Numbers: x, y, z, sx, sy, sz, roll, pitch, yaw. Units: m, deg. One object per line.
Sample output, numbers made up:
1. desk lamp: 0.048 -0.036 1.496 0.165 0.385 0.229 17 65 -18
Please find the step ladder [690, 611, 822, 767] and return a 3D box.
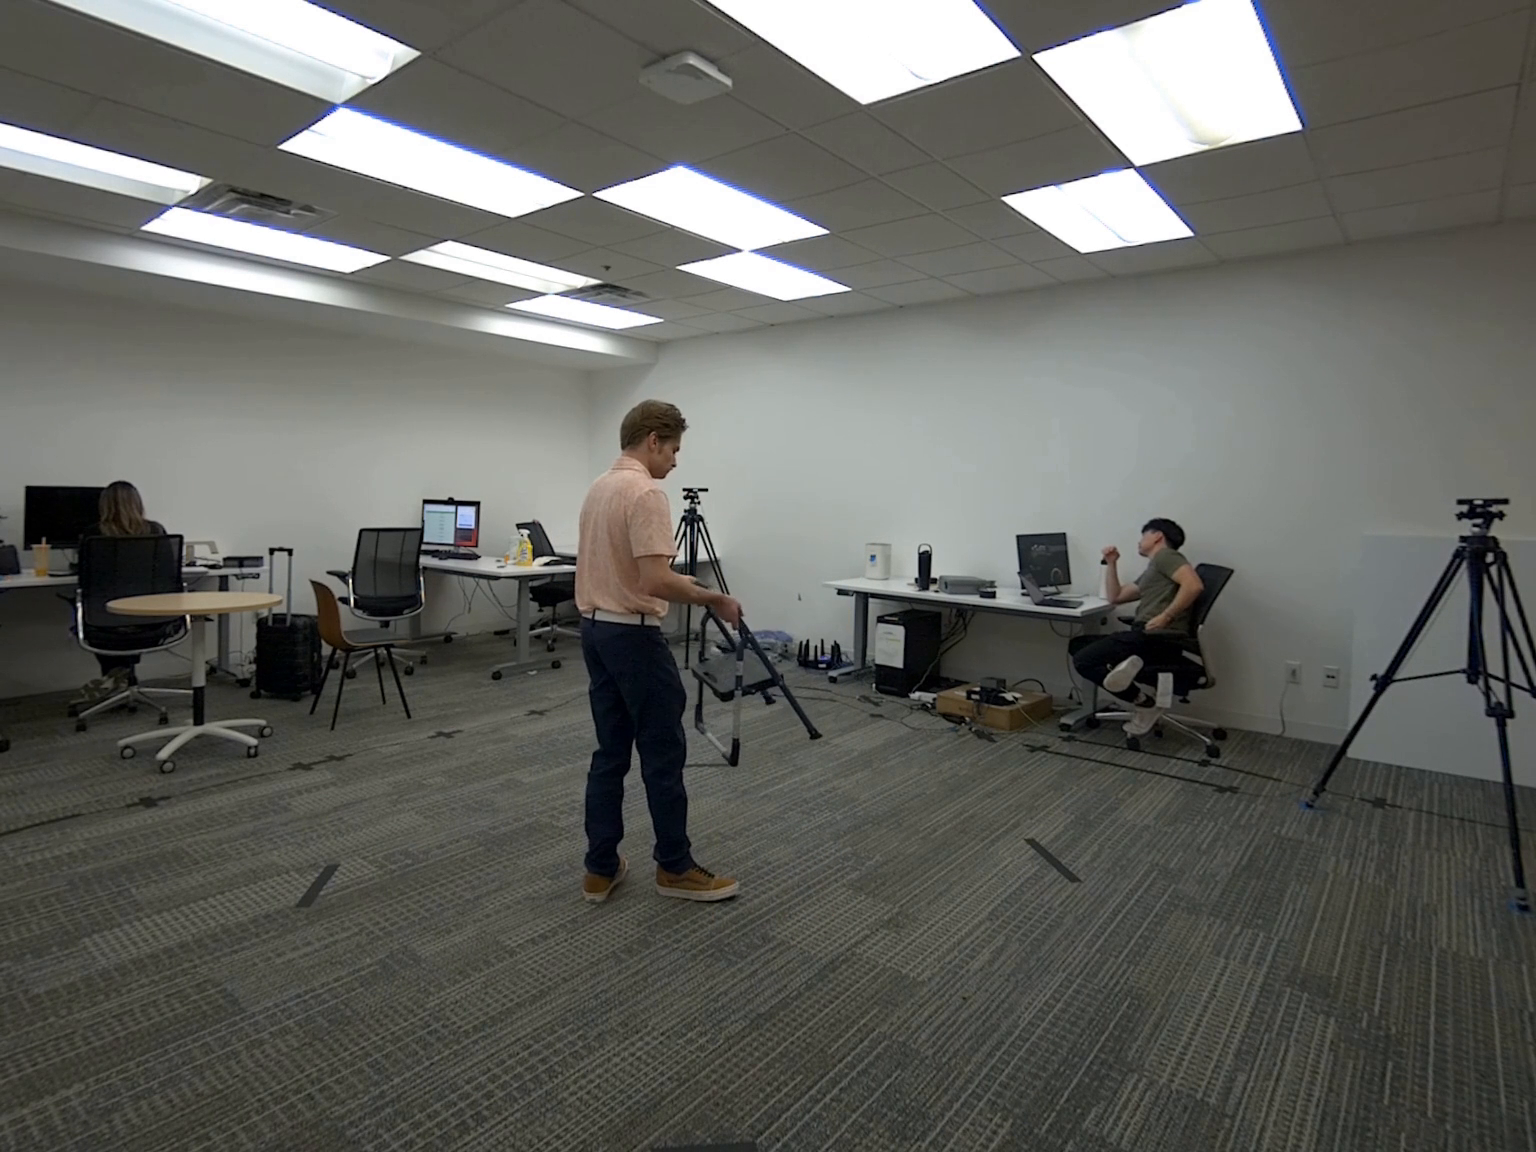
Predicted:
1. step ladder: -0.120 0.297 3.097 0.344 0.598 0.443 -16 13 -20
